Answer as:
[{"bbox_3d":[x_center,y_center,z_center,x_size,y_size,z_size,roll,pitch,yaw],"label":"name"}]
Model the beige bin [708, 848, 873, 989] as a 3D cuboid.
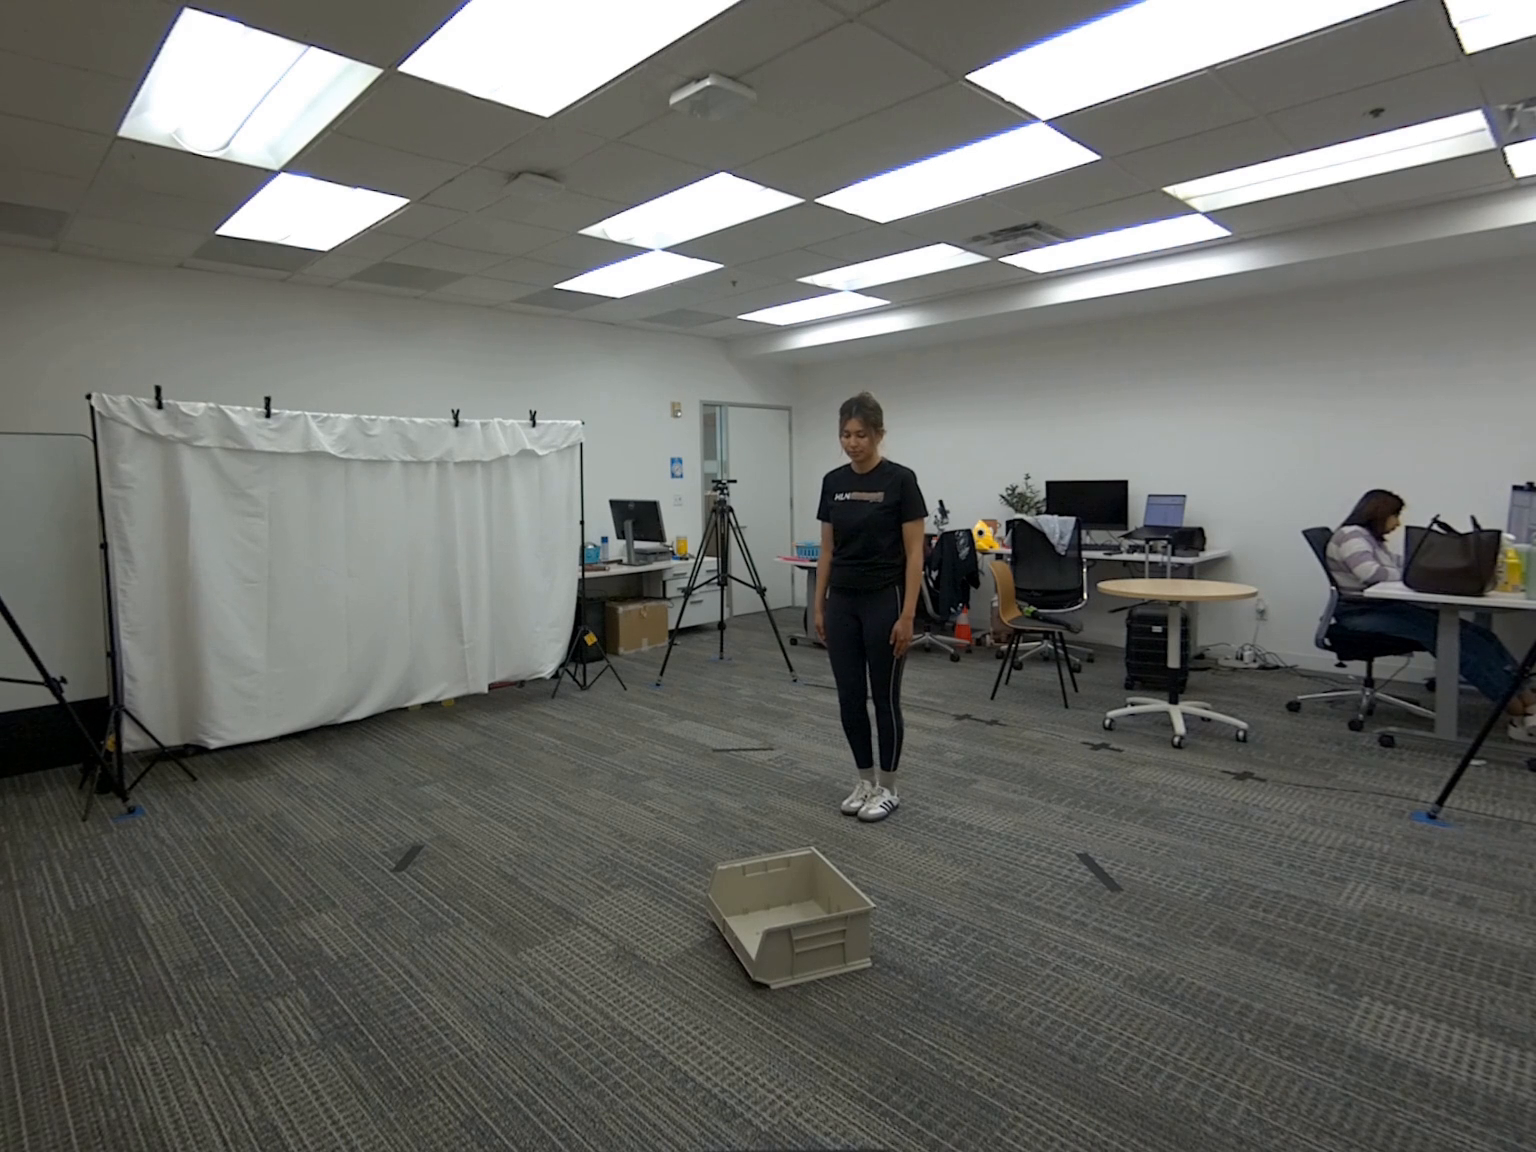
[{"bbox_3d":[0.062,1.019,2.570,0.370,0.188,0.432,-3,6,-21],"label":"beige bin"}]
